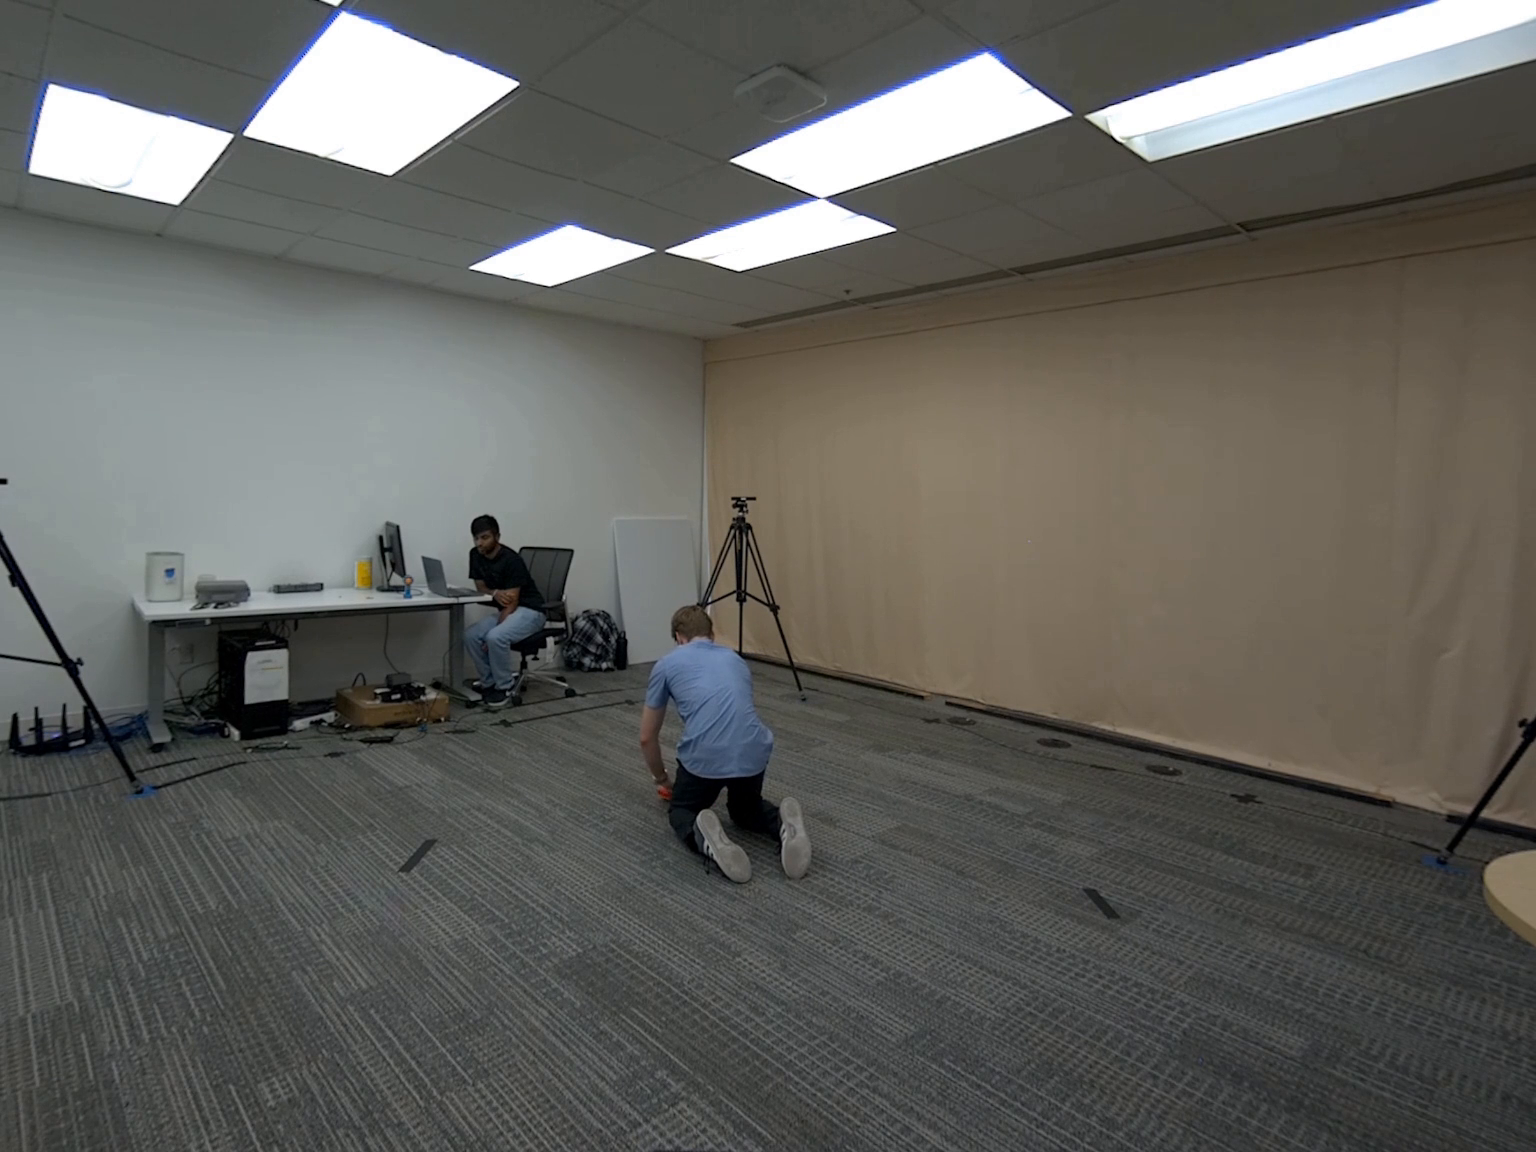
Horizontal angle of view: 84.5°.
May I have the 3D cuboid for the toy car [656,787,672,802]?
[{"bbox_3d":[-0.411,1.003,3.913,0.133,0.083,0.247,3,-9,43],"label":"toy car"}]
